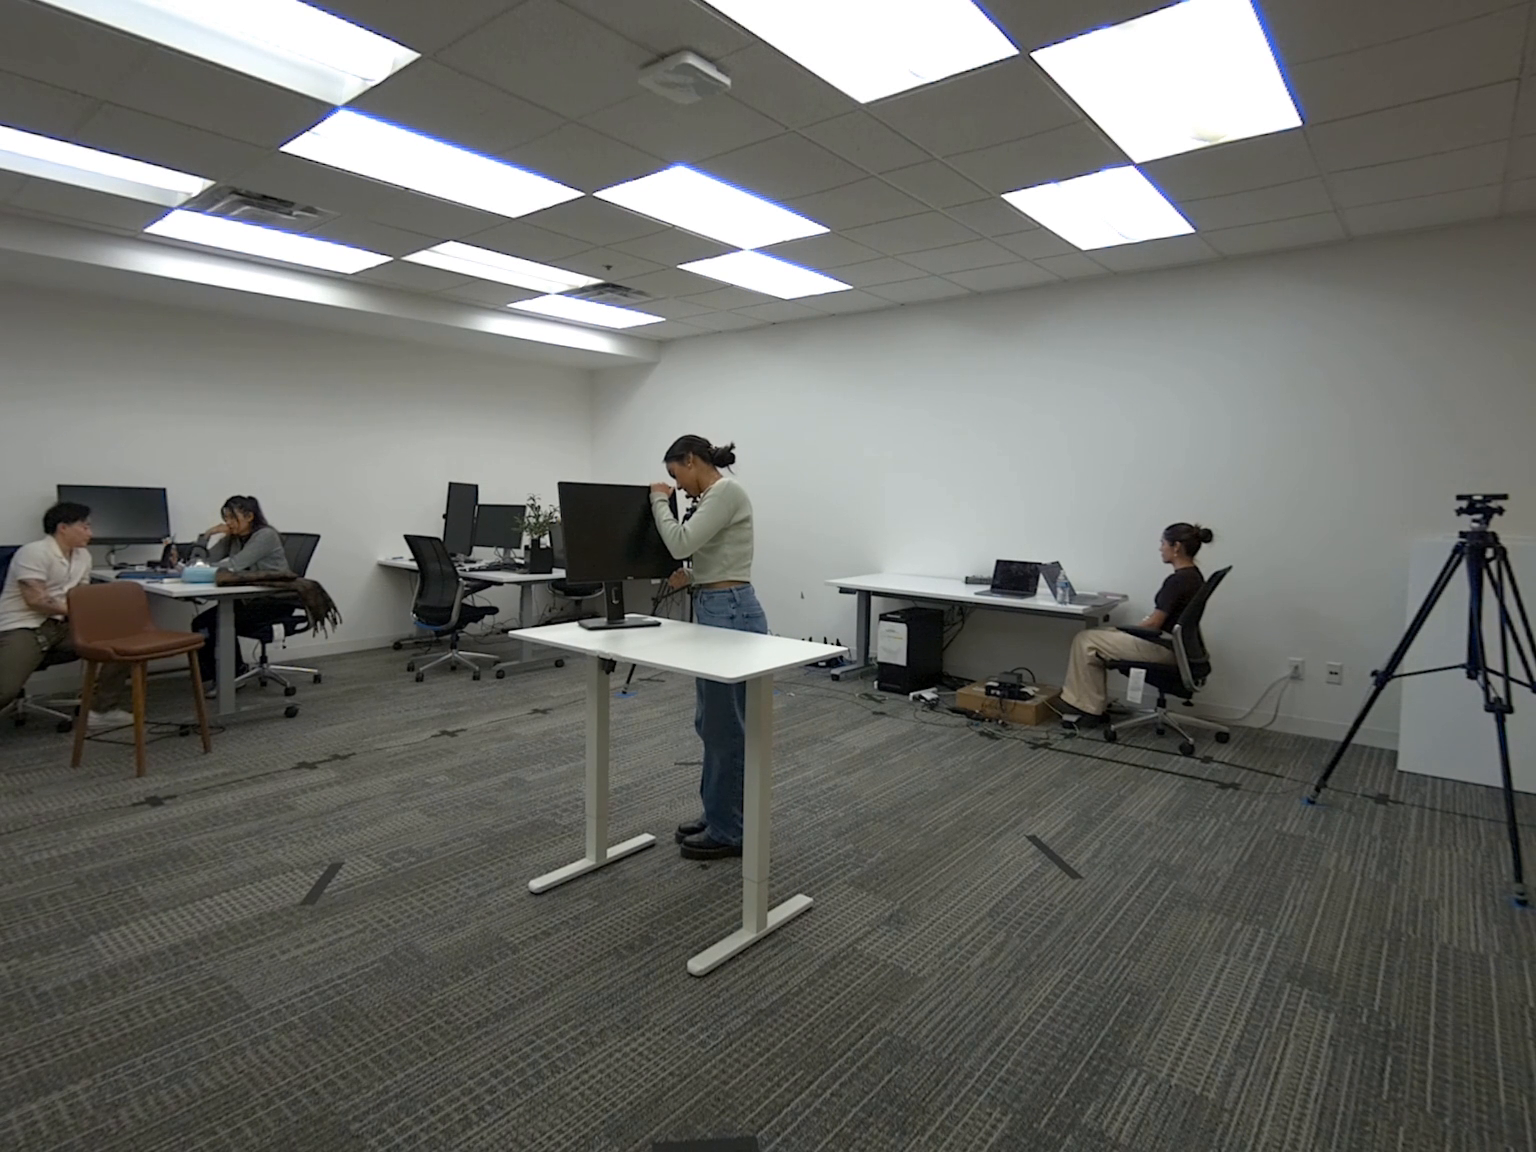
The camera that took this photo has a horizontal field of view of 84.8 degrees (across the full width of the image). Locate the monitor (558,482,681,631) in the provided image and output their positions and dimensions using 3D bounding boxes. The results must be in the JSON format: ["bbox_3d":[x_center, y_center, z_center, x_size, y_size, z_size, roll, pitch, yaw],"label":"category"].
[{"bbox_3d":[-0.561,-0.077,3.111,0.193,0.521,0.523,4,4,43],"label":"monitor"}]
